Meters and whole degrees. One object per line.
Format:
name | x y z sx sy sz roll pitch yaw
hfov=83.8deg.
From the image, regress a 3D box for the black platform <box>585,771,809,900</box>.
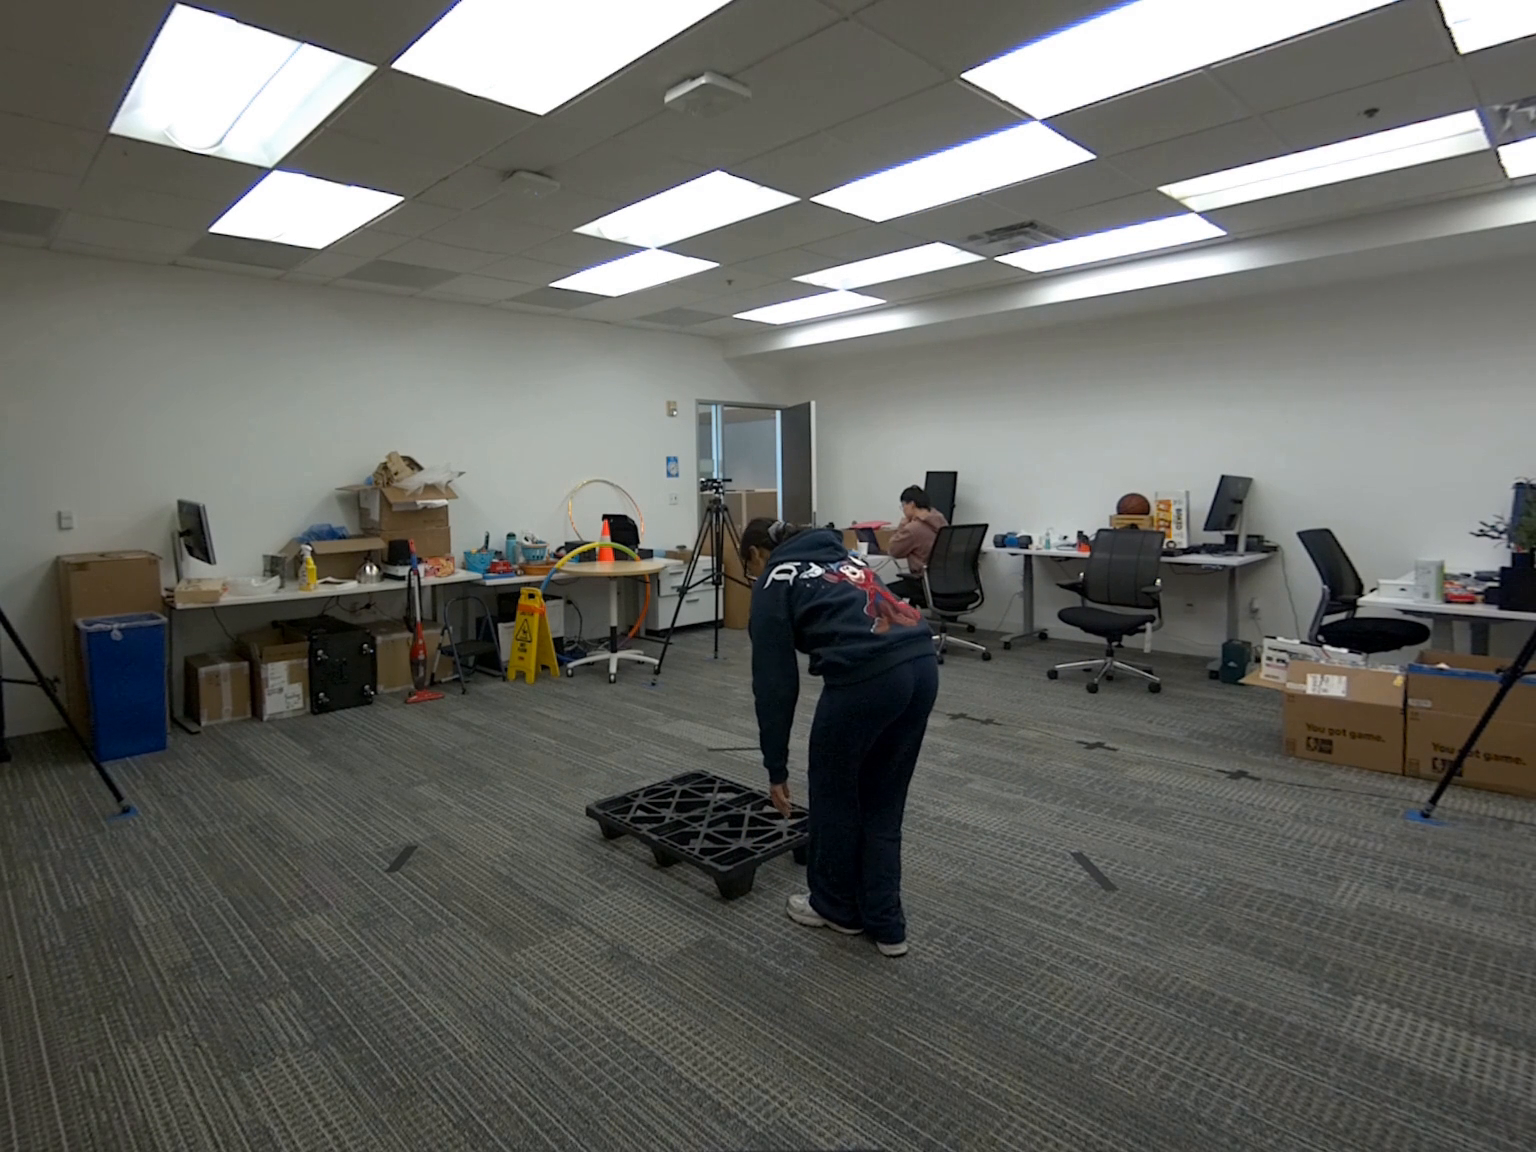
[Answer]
black platform | -0.222 0.965 3.244 0.590 0.142 0.830 -8 9 -44
